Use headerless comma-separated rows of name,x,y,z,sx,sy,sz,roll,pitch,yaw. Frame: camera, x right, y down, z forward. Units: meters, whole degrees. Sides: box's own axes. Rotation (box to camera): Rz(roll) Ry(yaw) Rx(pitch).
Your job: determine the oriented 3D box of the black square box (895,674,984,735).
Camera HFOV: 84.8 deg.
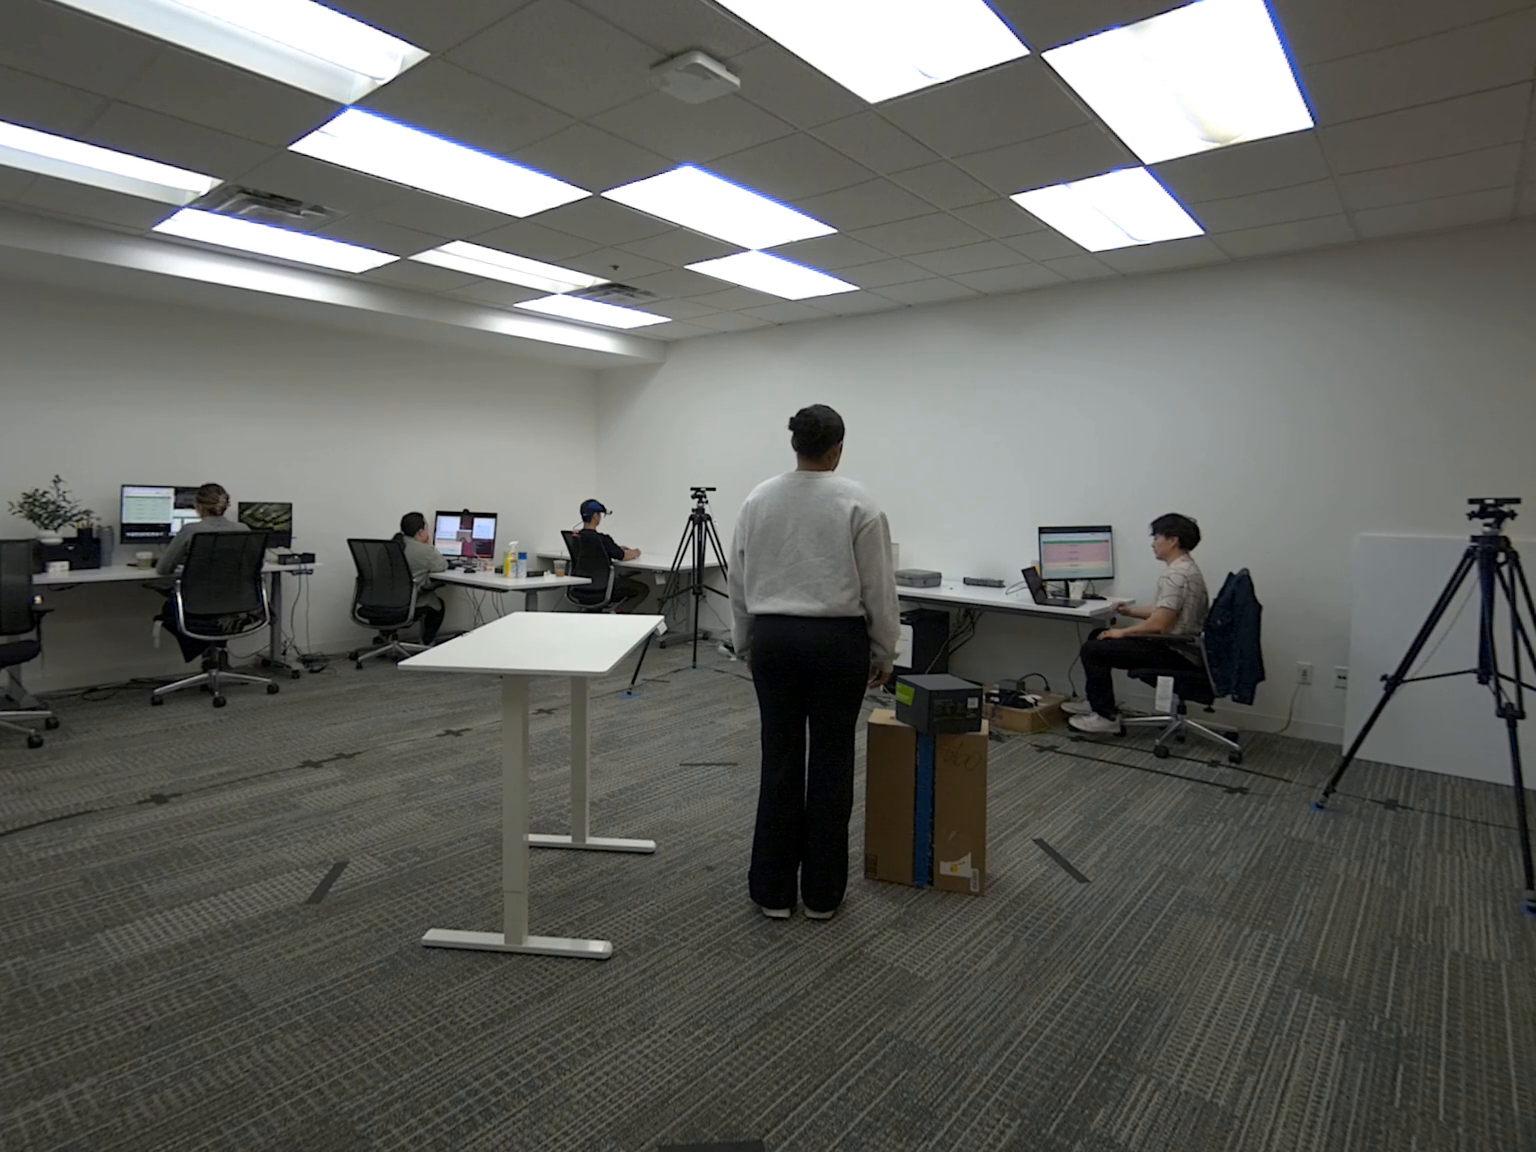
black square box,0.597,0.450,3.022,0.213,0.155,0.233,0,5,-20
